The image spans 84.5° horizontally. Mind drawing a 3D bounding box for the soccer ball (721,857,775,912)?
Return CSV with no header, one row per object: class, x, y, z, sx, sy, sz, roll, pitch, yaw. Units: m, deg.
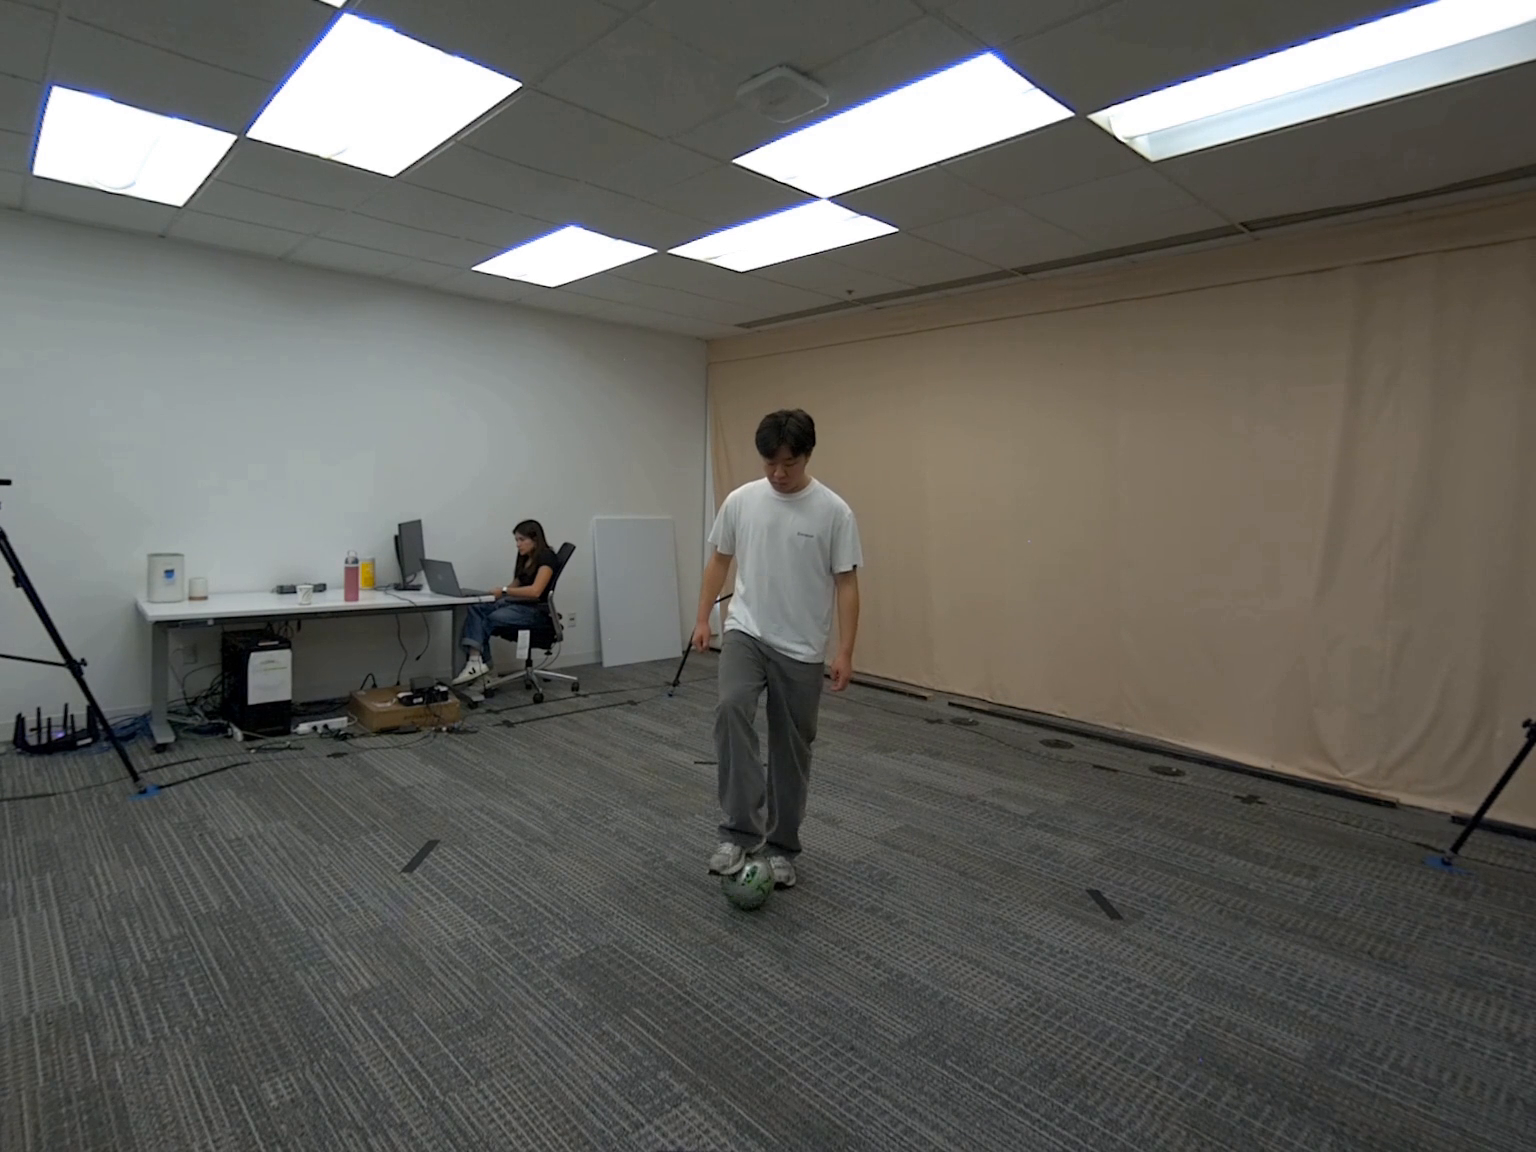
soccer ball,-0.085,1.042,2.879,0.187,0.187,0.188,1,4,-1
